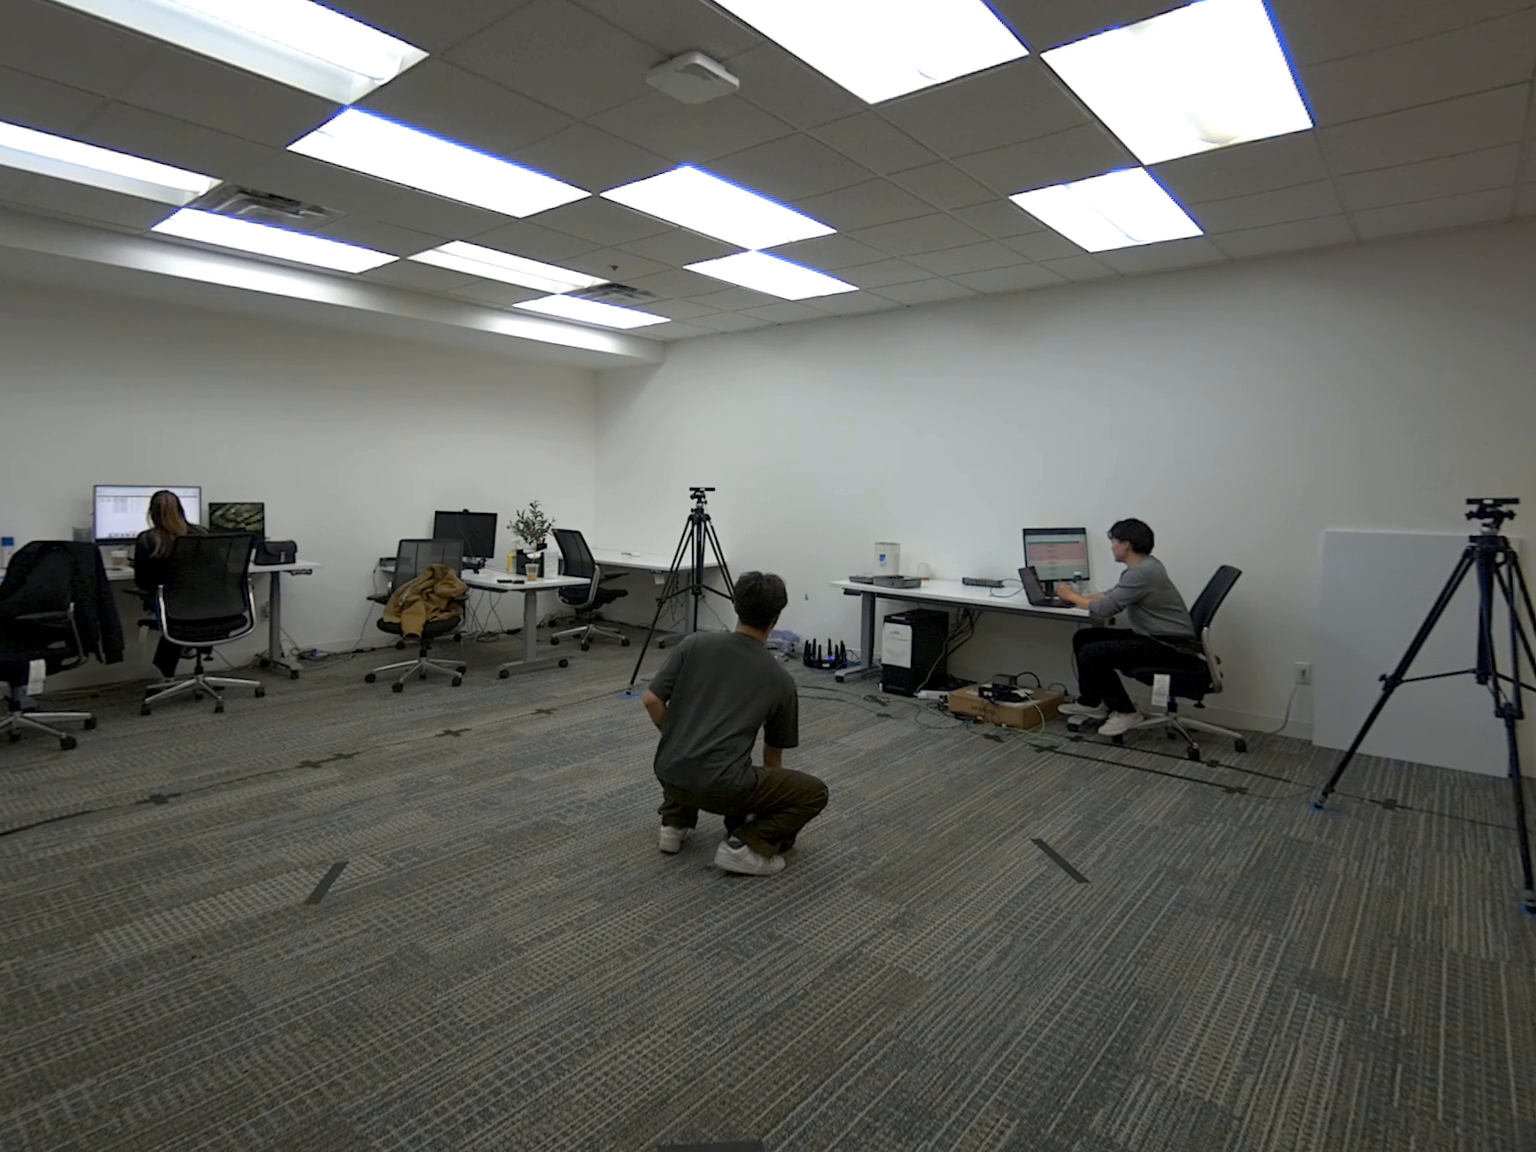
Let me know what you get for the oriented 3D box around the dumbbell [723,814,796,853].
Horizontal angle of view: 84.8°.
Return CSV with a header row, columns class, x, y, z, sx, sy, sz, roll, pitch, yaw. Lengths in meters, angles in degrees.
class,x,y,z,sx,sy,sz,roll,pitch,yaw
dumbbell,-0.032,0.989,3.371,0.304,0.124,0.104,8,-21,40
